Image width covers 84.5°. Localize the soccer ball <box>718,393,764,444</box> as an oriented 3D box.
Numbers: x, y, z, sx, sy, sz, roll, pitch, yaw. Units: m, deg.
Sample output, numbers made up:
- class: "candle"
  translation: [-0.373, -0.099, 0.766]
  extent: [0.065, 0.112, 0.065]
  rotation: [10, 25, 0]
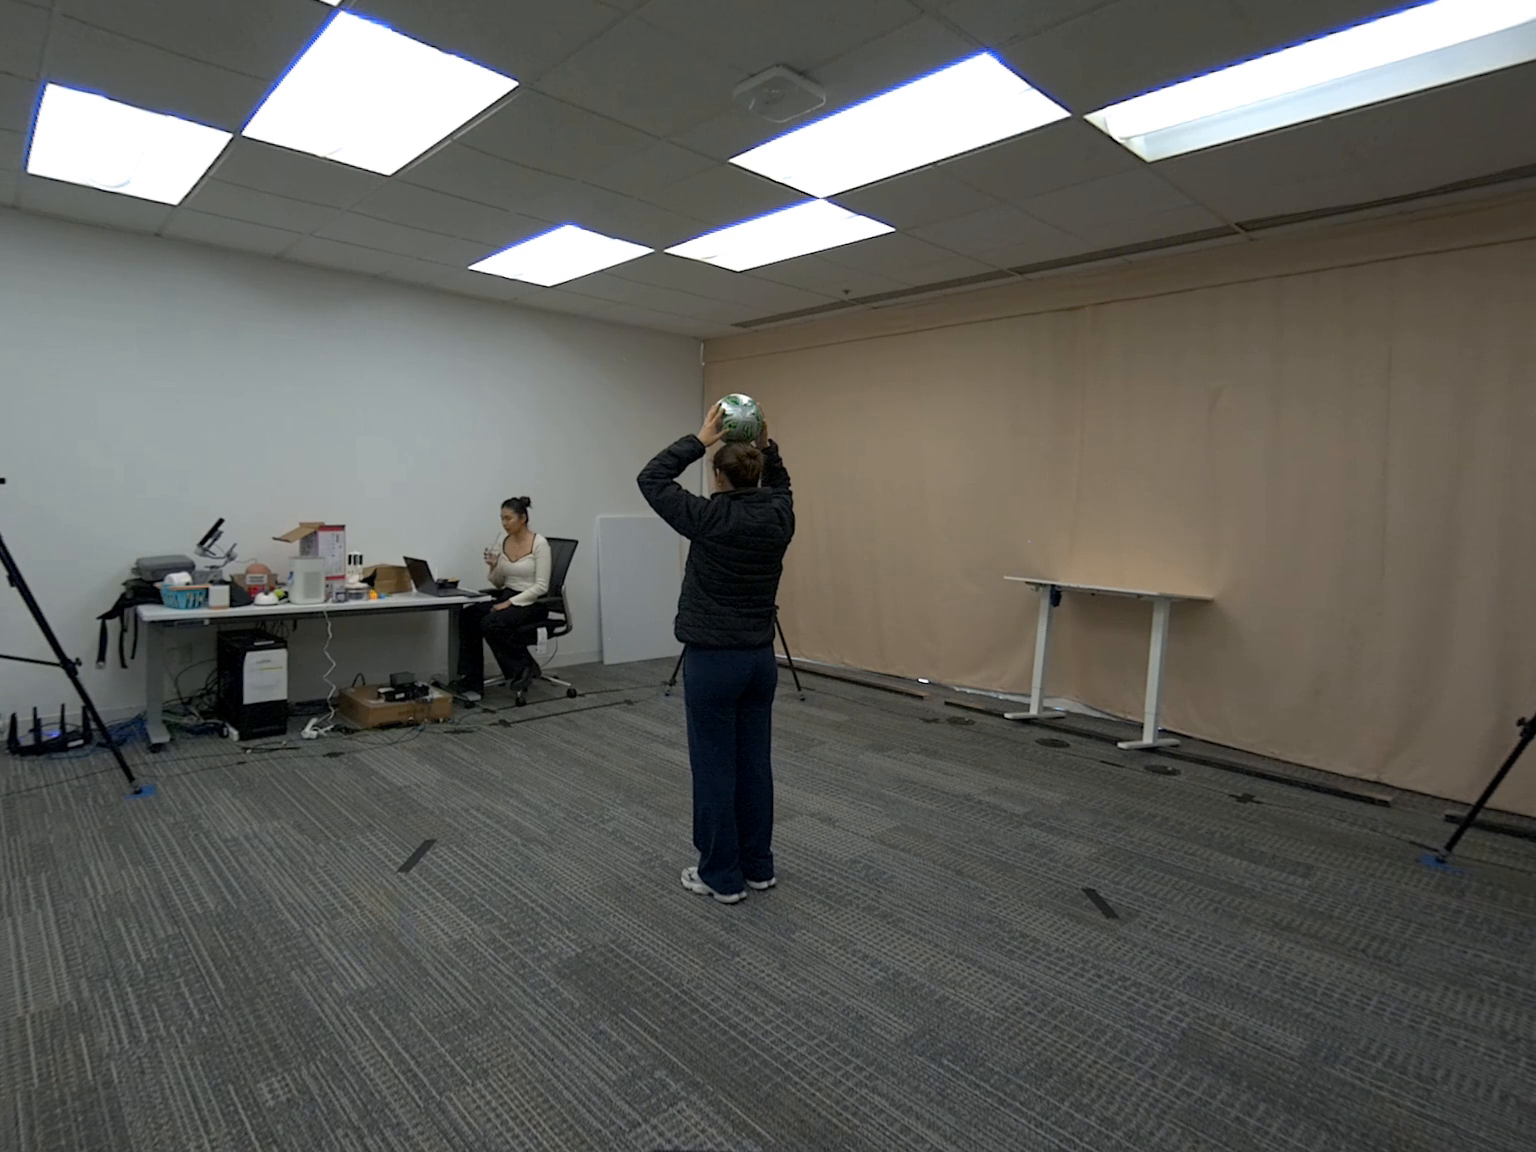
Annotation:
- class: "soccer ball"
  translation: [-0.116, -0.562, 3.033]
  extent: [0.187, 0.187, 0.188]
  rotation: [1, 4, -1]
